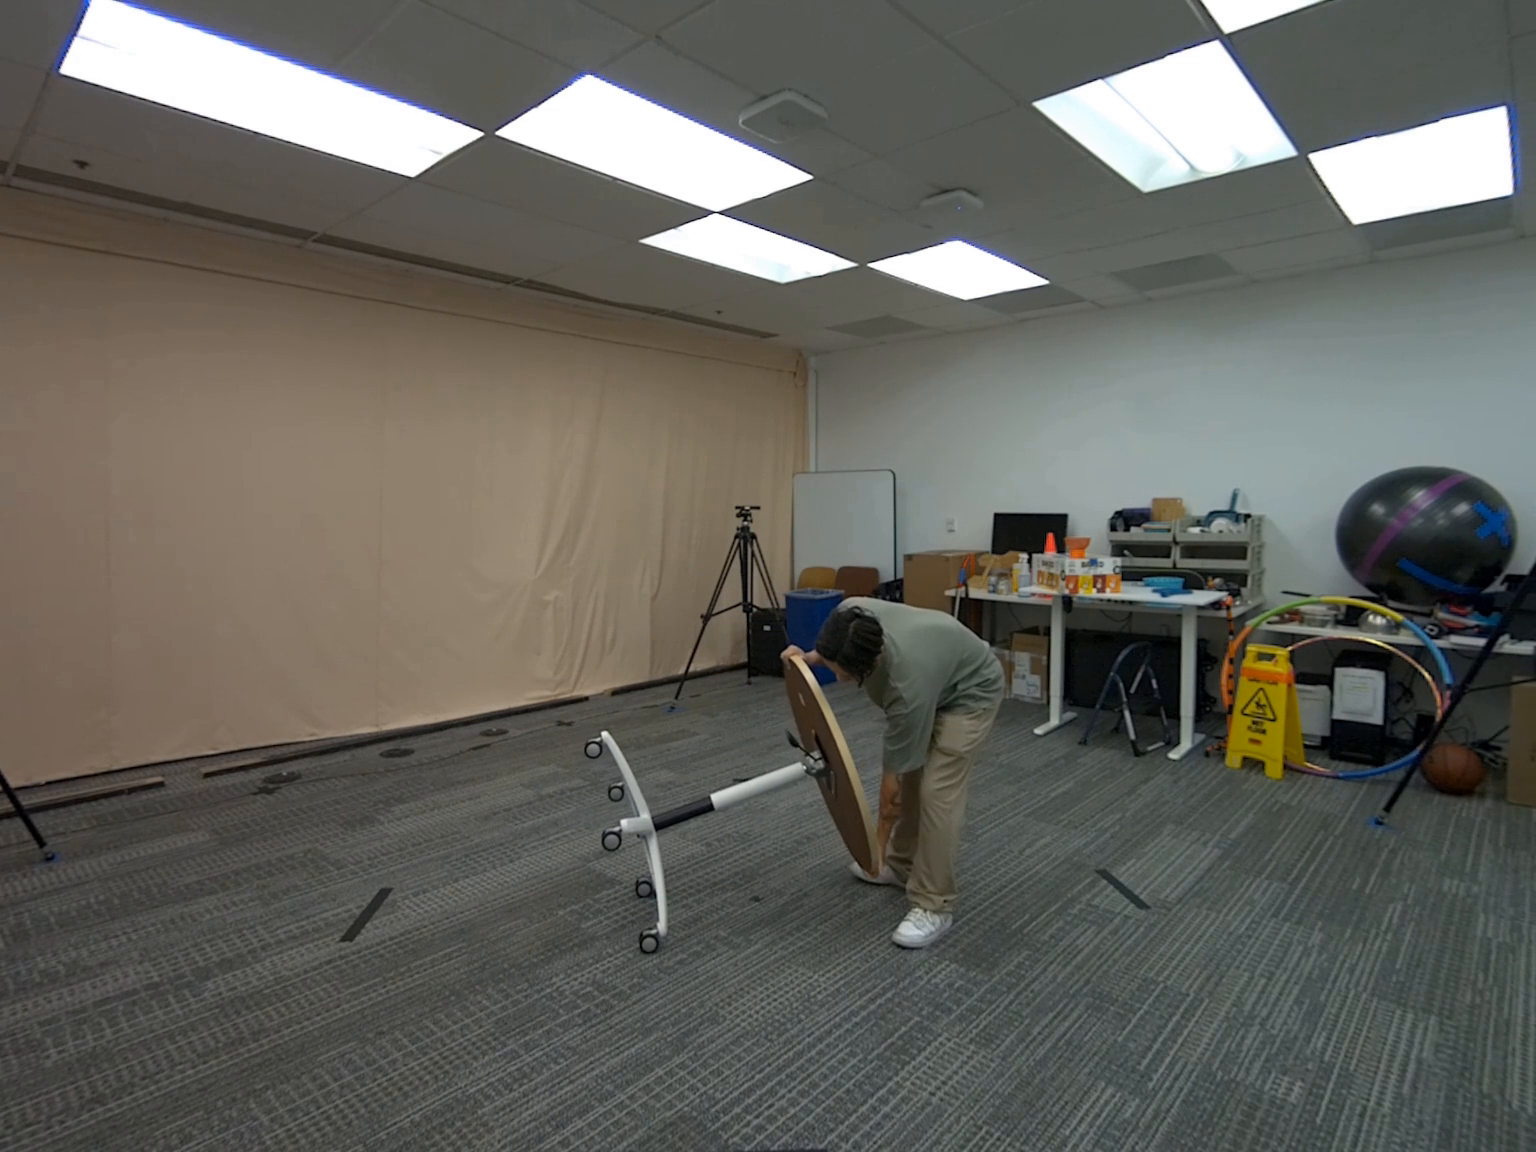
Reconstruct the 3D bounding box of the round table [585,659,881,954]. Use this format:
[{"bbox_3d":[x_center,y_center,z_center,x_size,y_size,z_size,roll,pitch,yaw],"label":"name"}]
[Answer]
[{"bbox_3d":[-0.149,0.754,2.868,0.781,0.781,0.795,-18,7,-8],"label":"round table"}]
